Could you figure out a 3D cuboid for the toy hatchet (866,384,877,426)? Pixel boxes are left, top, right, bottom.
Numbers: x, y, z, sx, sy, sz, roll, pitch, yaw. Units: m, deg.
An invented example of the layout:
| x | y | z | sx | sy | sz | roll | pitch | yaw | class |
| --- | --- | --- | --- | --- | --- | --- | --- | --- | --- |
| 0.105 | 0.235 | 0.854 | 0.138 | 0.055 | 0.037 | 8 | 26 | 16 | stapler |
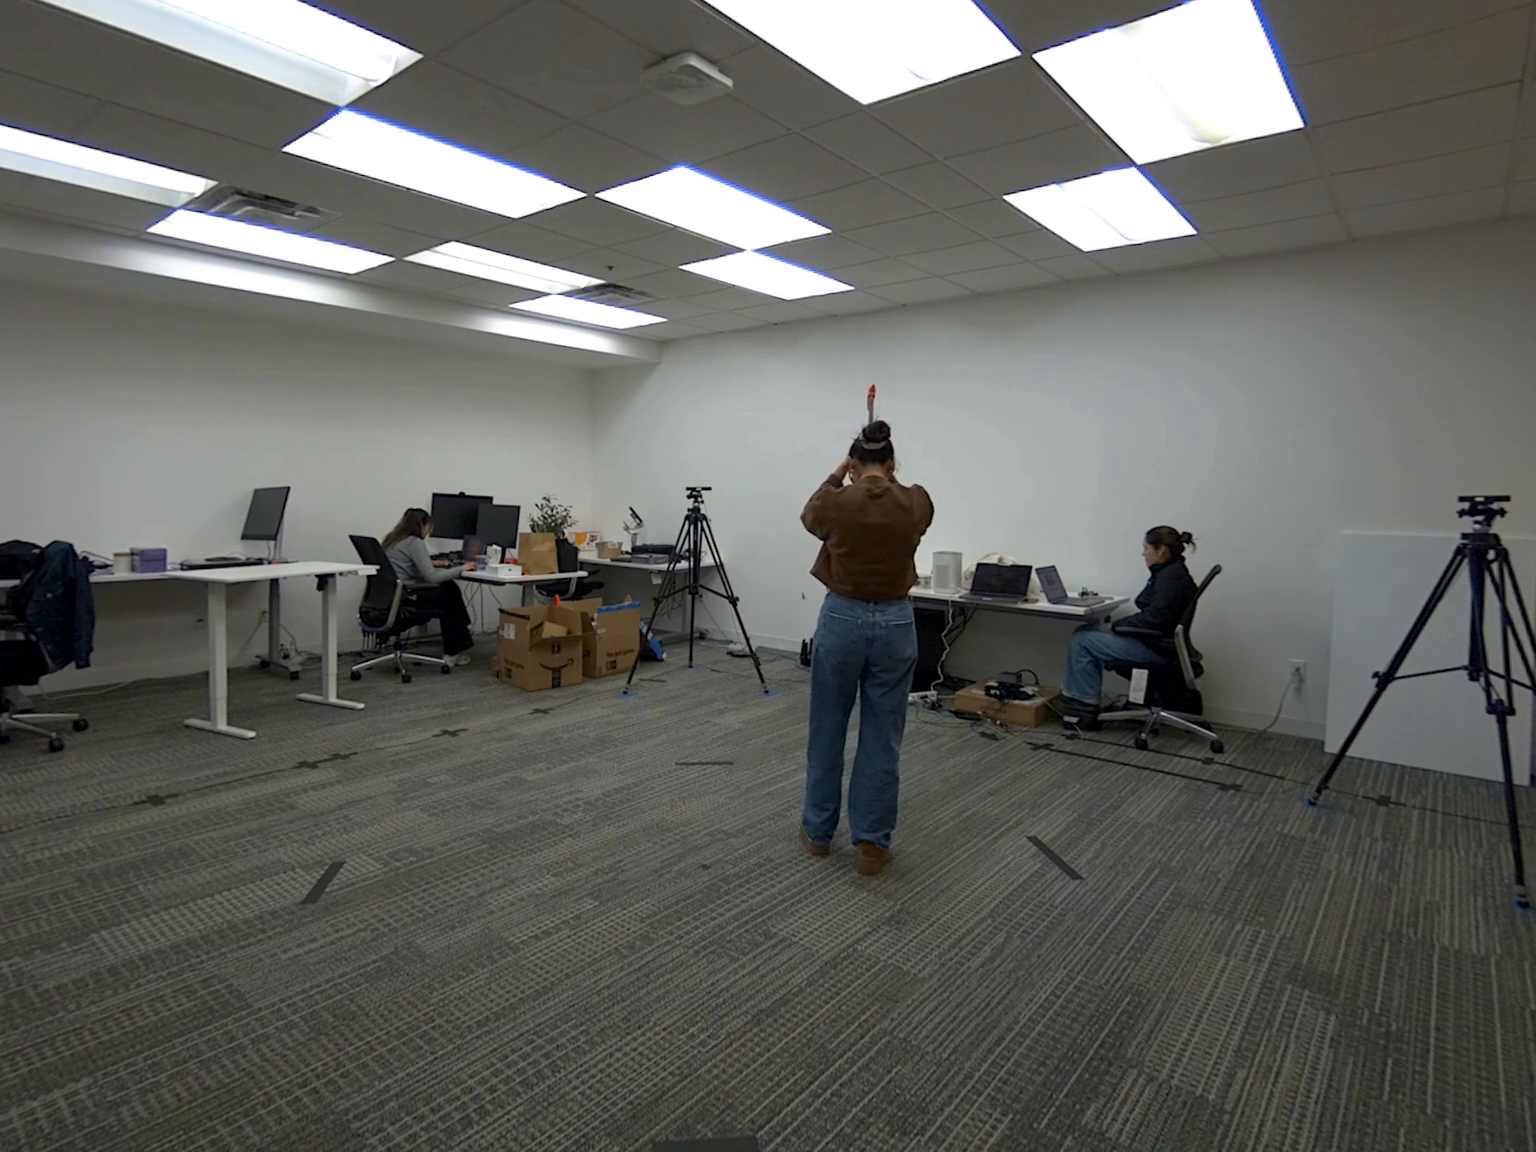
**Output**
| x | y | z | sx | sy | sz | roll | pitch | yaw | class |
| --- | --- | --- | --- | --- | --- | --- | --- | --- | --- |
| 0.399 | -0.640 | 3.415 | 0.029 | 0.271 | 0.131 | 6 | -5 | -4 | toy hatchet |
